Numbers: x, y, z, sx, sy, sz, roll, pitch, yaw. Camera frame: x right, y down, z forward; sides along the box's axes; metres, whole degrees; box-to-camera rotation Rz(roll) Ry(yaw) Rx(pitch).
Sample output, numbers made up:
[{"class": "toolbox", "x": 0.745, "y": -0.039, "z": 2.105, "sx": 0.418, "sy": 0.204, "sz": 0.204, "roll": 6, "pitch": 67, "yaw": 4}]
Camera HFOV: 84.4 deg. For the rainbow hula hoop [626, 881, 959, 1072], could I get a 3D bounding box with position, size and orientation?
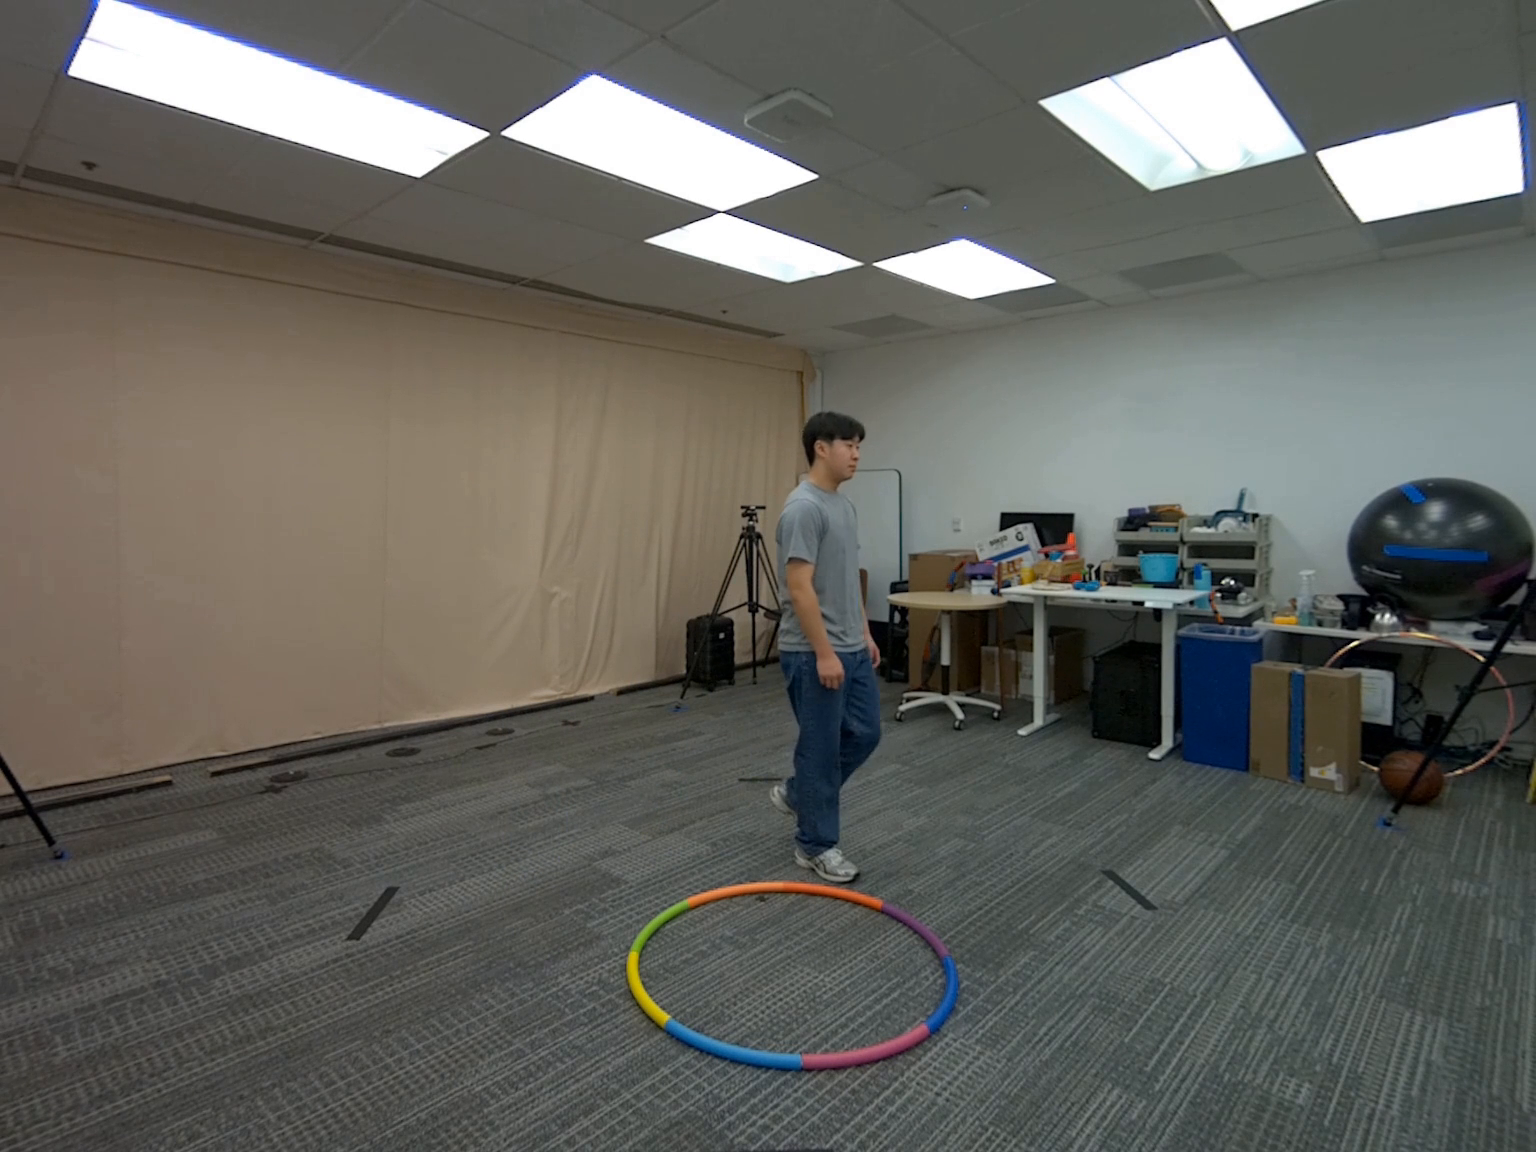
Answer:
[{"class": "rainbow hula hoop", "x": 0.071, "y": 1.147, "z": 2.563, "sx": 0.978, "sy": 0.035, "sz": 0.982, "roll": 0, "pitch": 4, "yaw": -2}]
